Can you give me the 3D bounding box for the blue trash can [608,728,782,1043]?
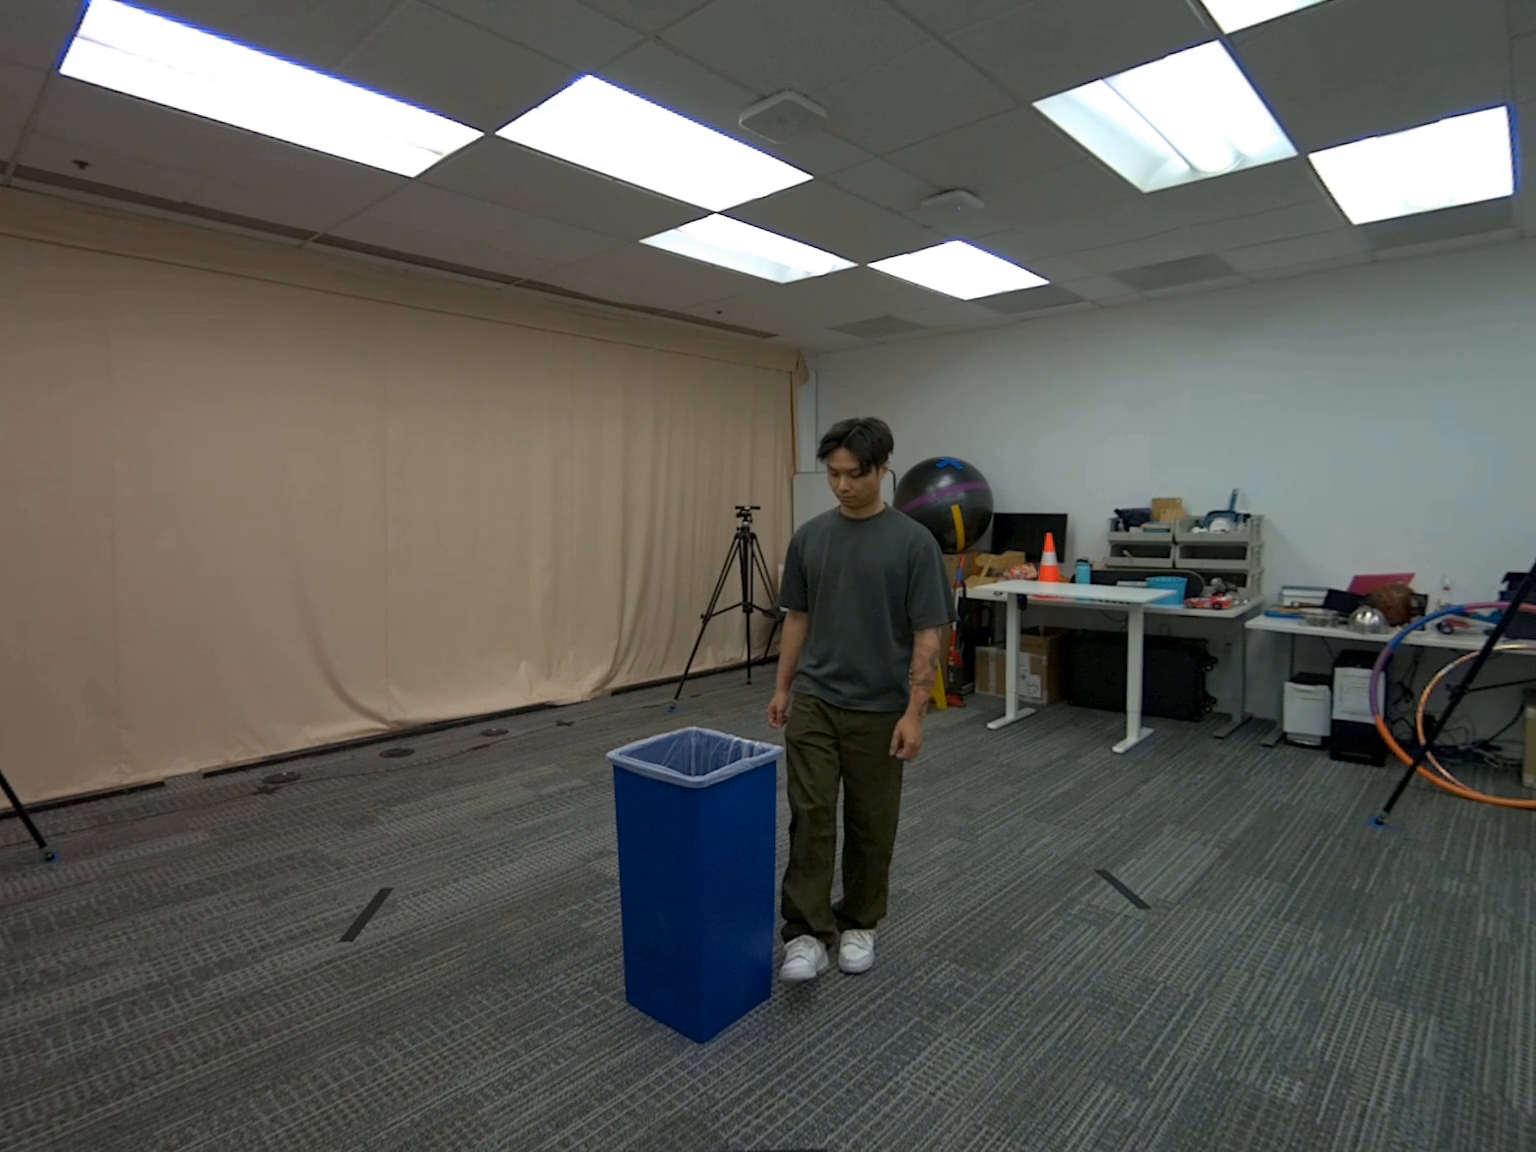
[{"bbox_3d":[-0.192,0.840,2.357,0.386,0.712,0.367,1,4,40],"label":"blue trash can"}]
